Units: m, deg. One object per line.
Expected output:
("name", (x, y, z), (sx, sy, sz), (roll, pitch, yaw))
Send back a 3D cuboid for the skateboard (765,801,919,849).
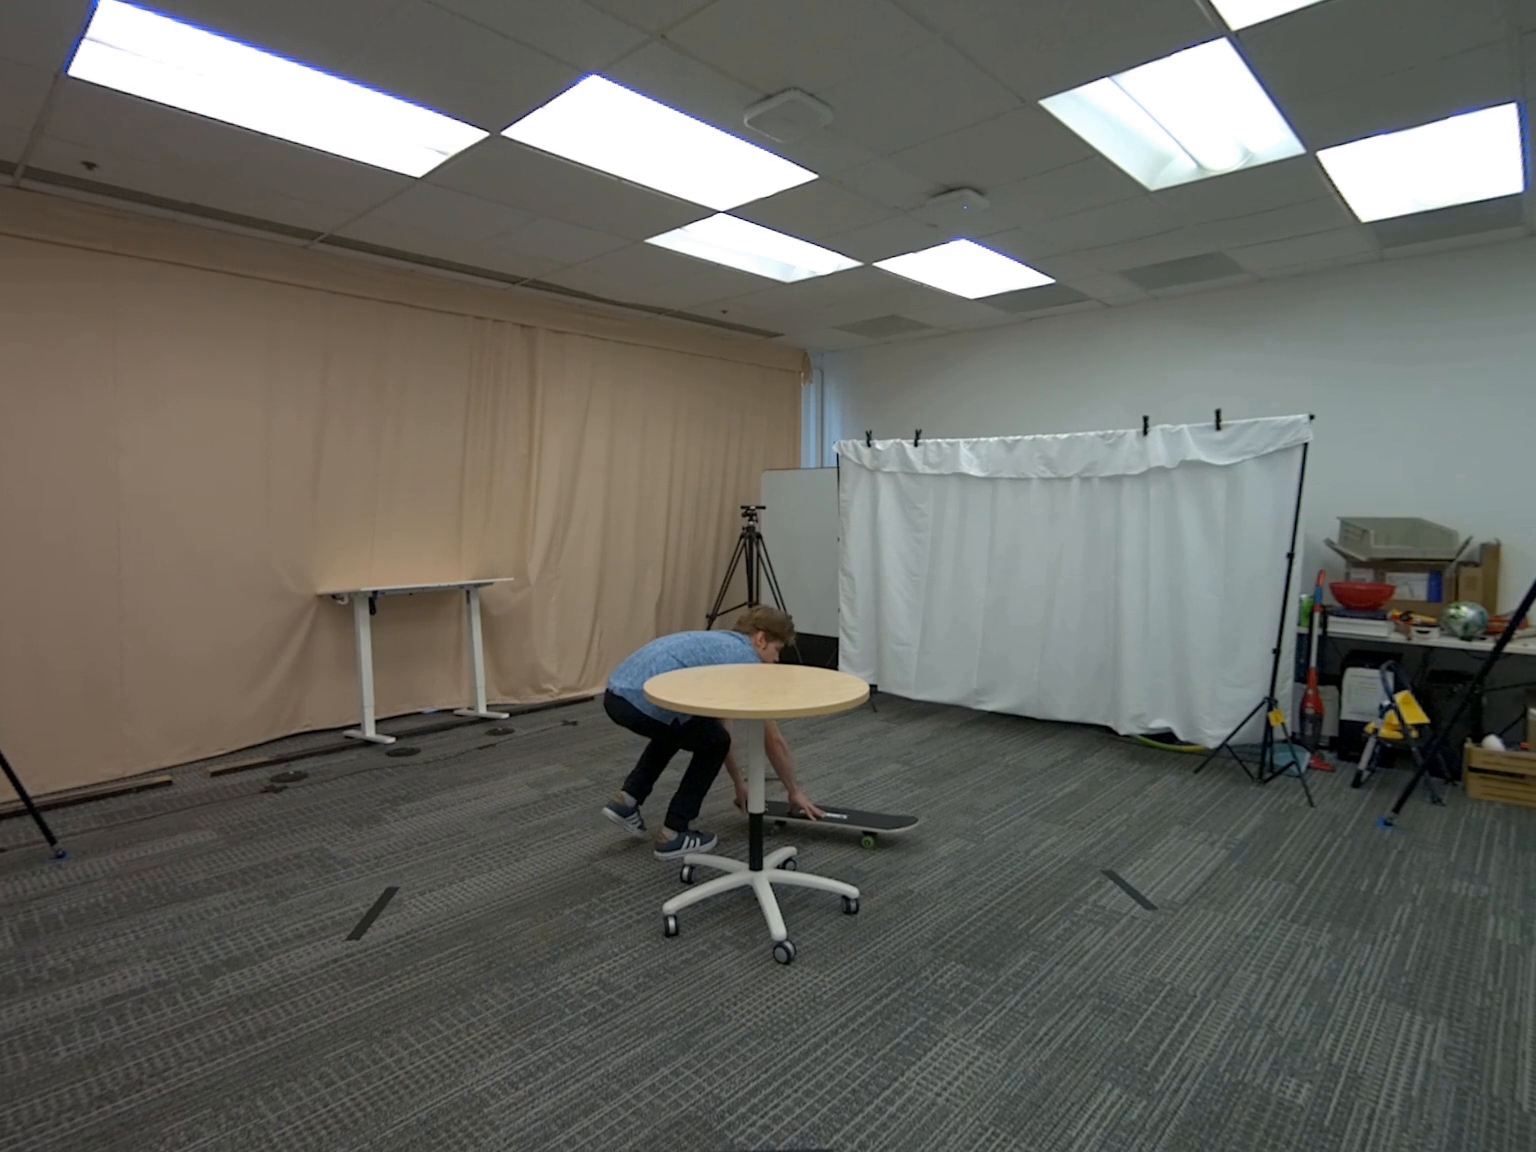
("skateboard", (0.236, 1.040, 3.558), (0.801, 0.110, 0.190), (1, 4, 18))
